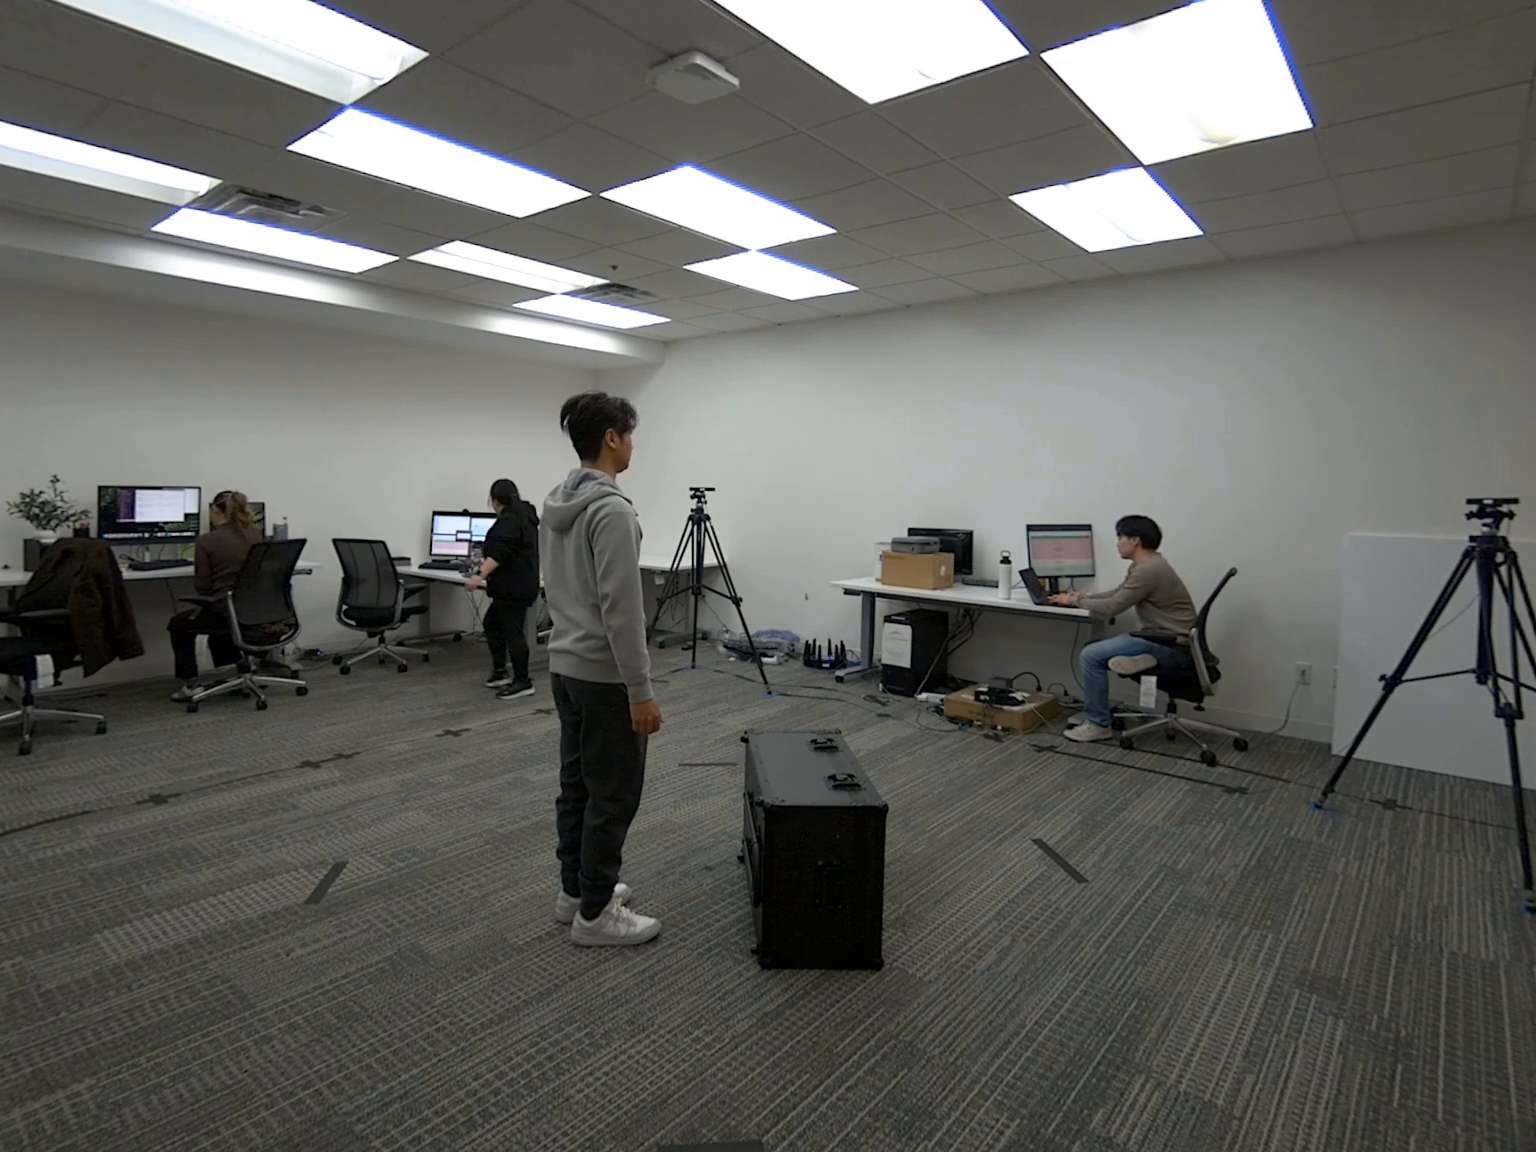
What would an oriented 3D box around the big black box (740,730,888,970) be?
[{"bbox_3d":[0.101,0.852,2.872,0.395,0.519,0.868,1,5,-4],"label":"big black box"}]
